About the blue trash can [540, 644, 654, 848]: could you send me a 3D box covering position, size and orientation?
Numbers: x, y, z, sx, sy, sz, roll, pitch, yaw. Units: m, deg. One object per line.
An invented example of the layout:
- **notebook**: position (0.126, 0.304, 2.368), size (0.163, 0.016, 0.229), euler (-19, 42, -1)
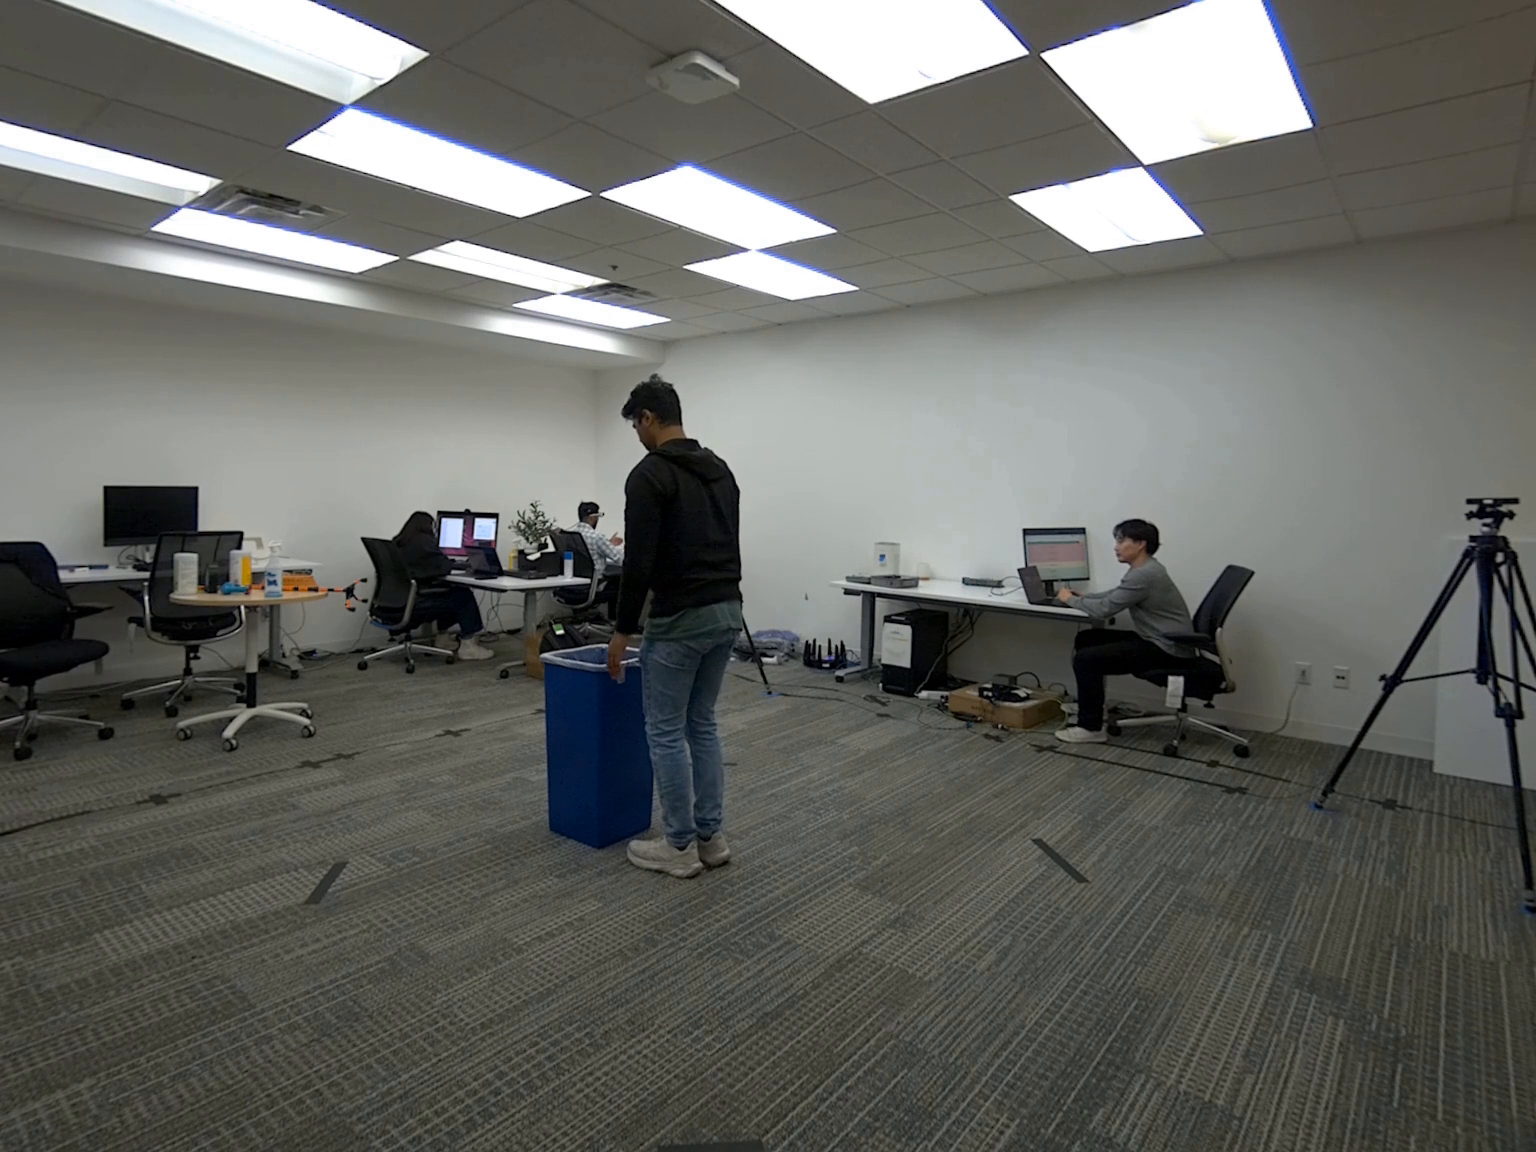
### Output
- **blue trash can**: position (-0.699, 0.668, 3.450), size (0.386, 0.712, 0.367), euler (4, 4, 37)
